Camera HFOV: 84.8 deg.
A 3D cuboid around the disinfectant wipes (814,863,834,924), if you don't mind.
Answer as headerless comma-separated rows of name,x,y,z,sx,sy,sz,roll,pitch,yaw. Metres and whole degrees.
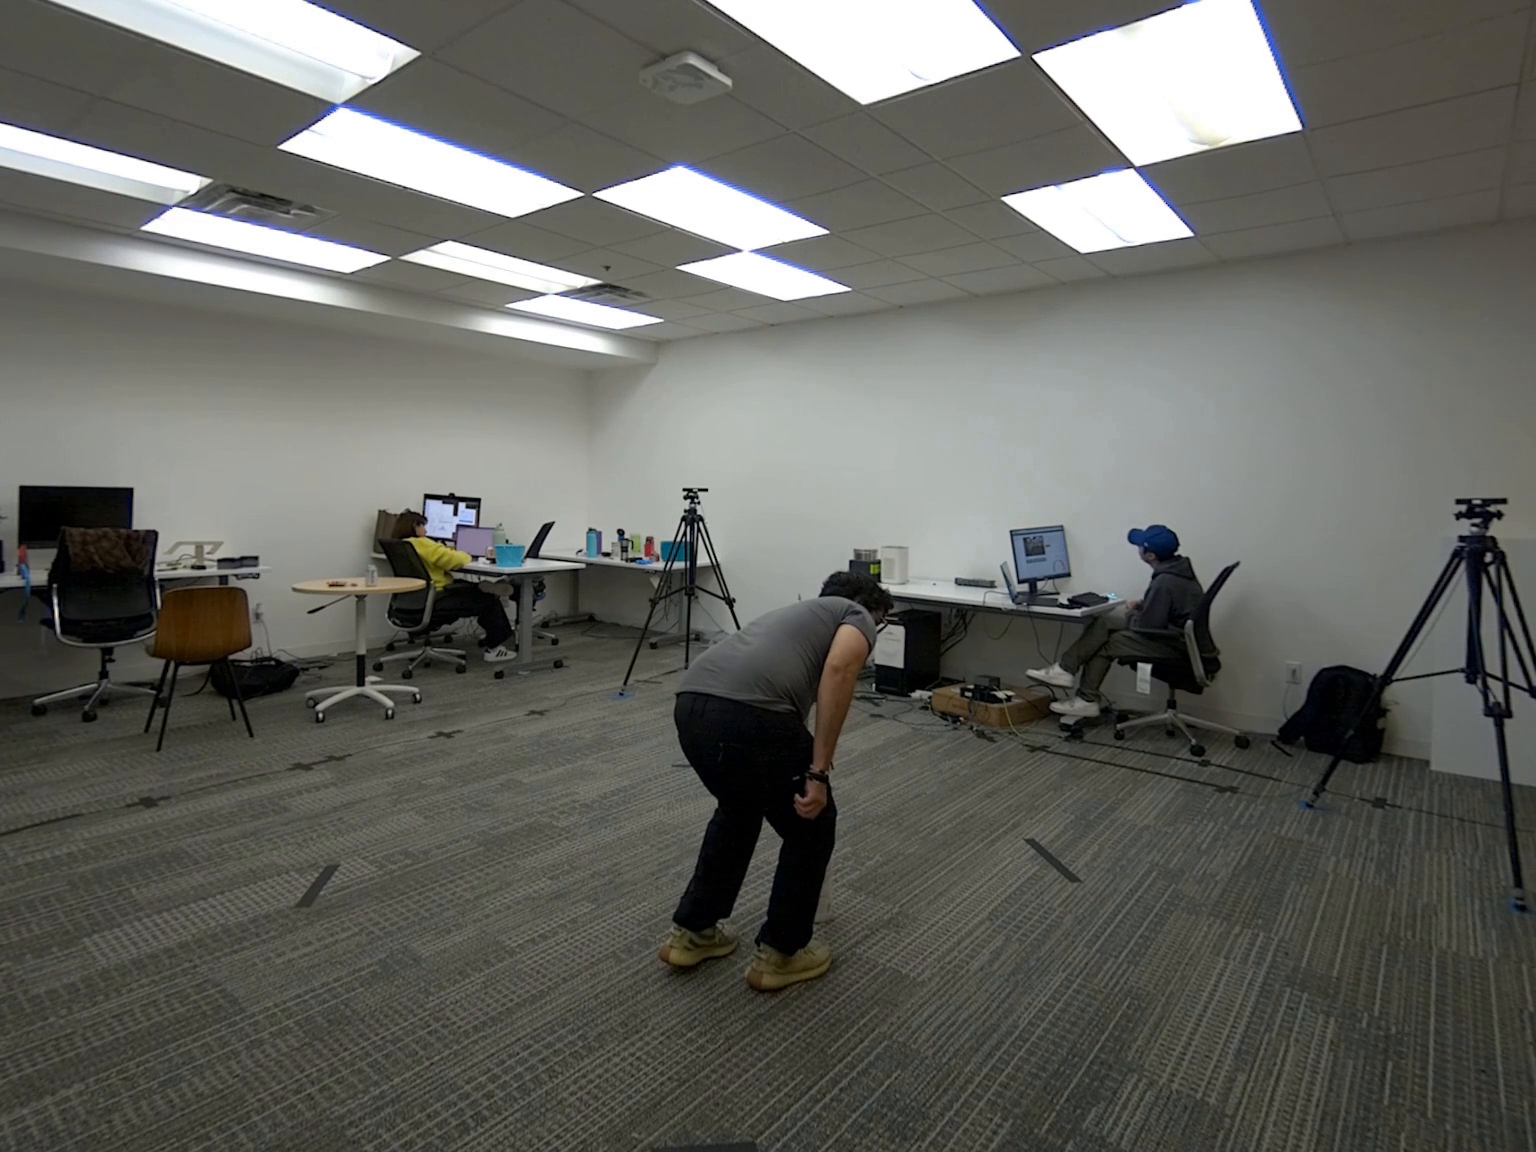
disinfectant wipes,0.152,0.998,2.783,0.118,0.217,0.118,-3,0,-2
